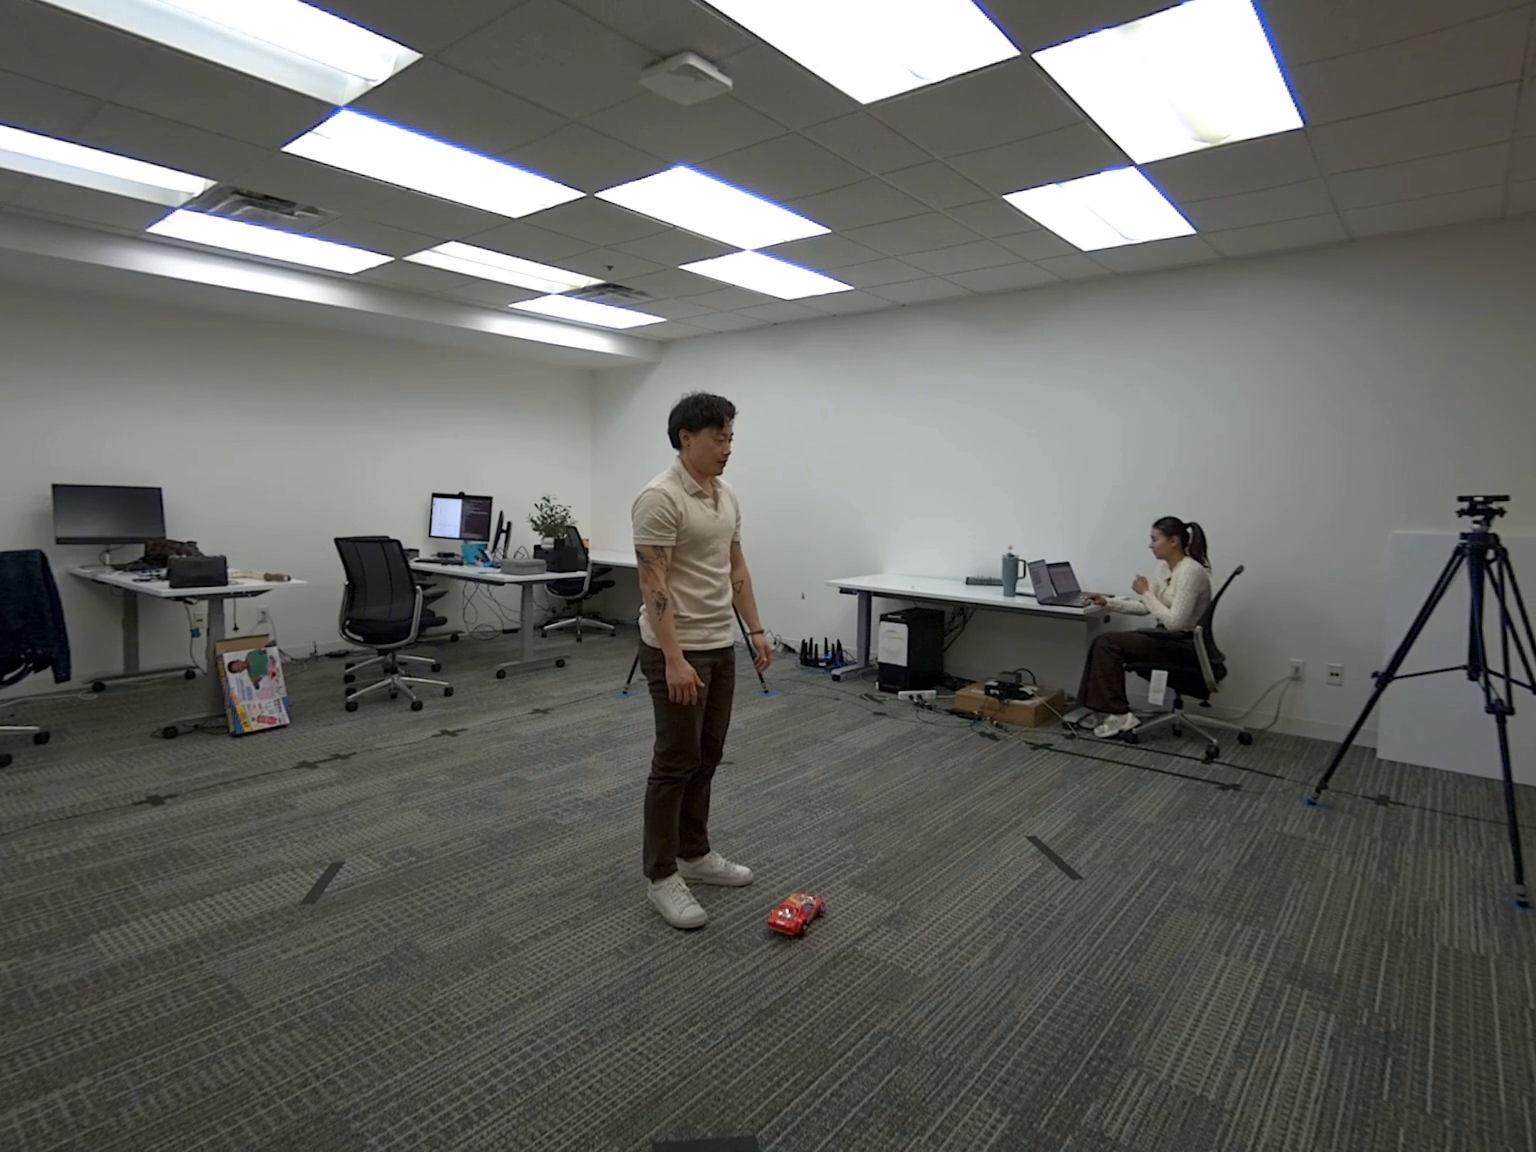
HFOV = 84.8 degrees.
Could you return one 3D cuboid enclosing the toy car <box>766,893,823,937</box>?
[{"bbox_3d":[0.077,1.076,2.714,0.134,0.083,0.246,5,-4,27],"label":"toy car"}]
